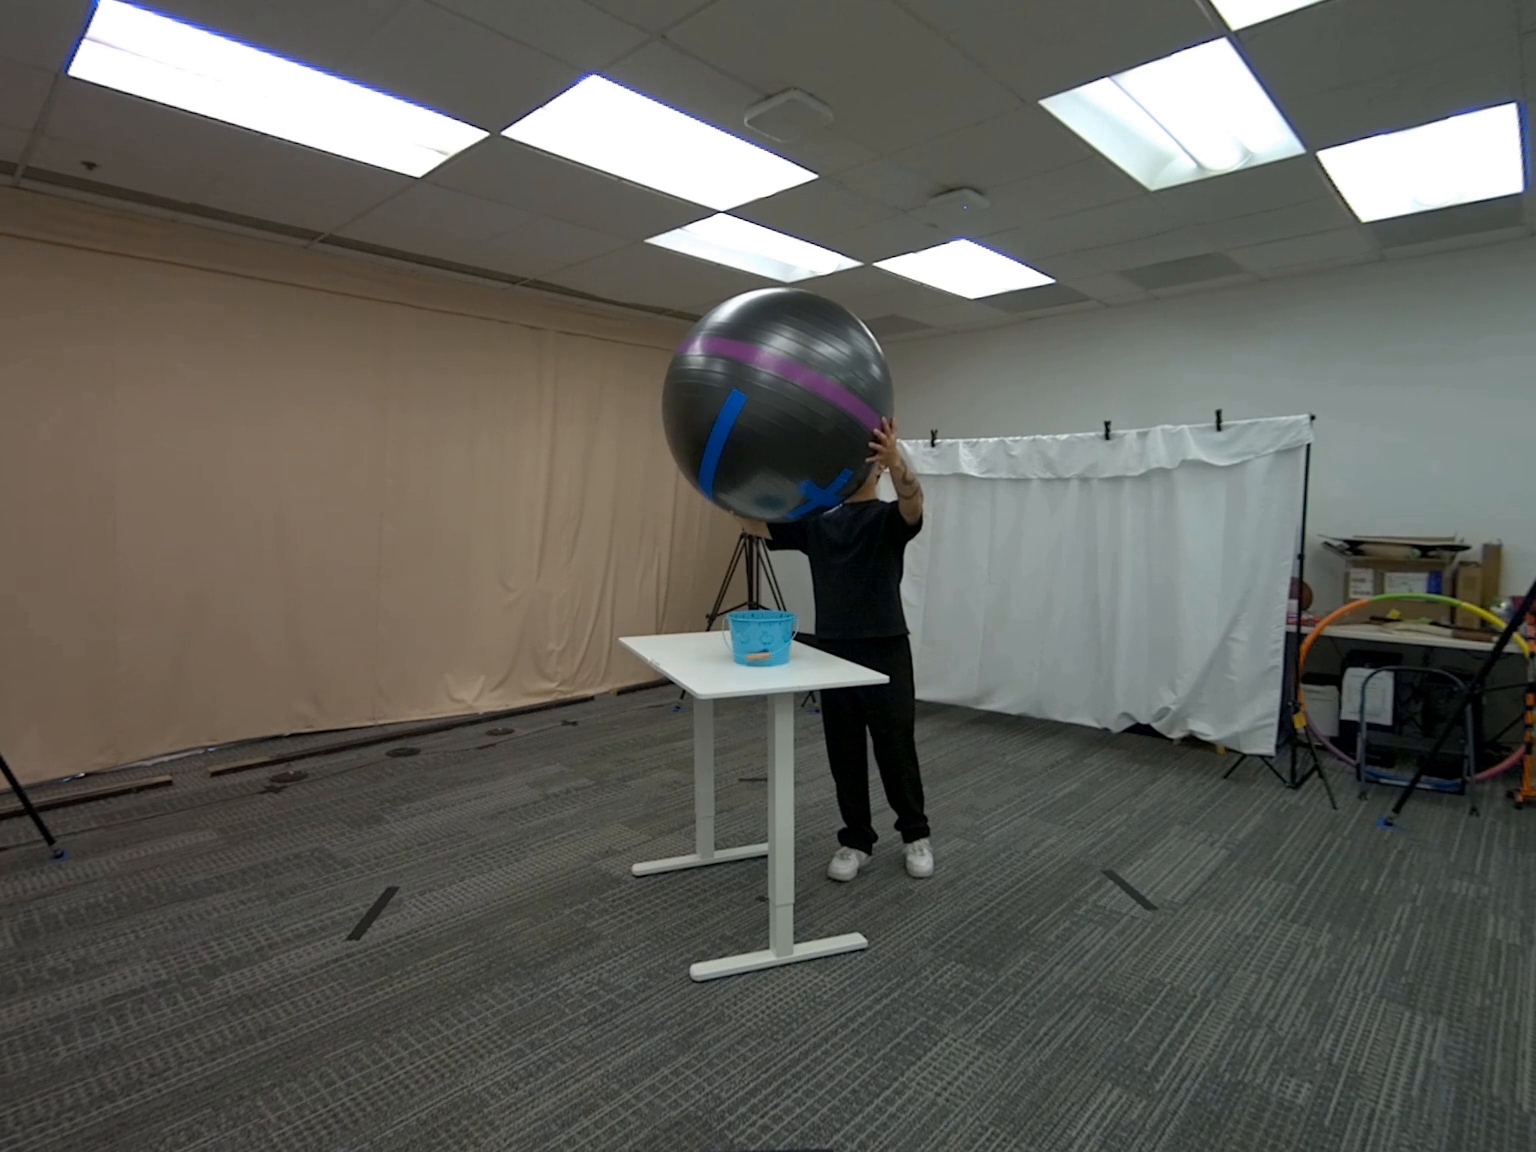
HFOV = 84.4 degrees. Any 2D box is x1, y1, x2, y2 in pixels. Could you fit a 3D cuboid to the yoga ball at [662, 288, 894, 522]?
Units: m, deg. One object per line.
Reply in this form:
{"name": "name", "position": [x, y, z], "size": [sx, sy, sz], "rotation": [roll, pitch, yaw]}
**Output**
{"name": "yoga ball", "position": [0.031, -0.554, 2.782], "size": [0.757, 0.756, 0.760], "rotation": [0, 4, -2]}
